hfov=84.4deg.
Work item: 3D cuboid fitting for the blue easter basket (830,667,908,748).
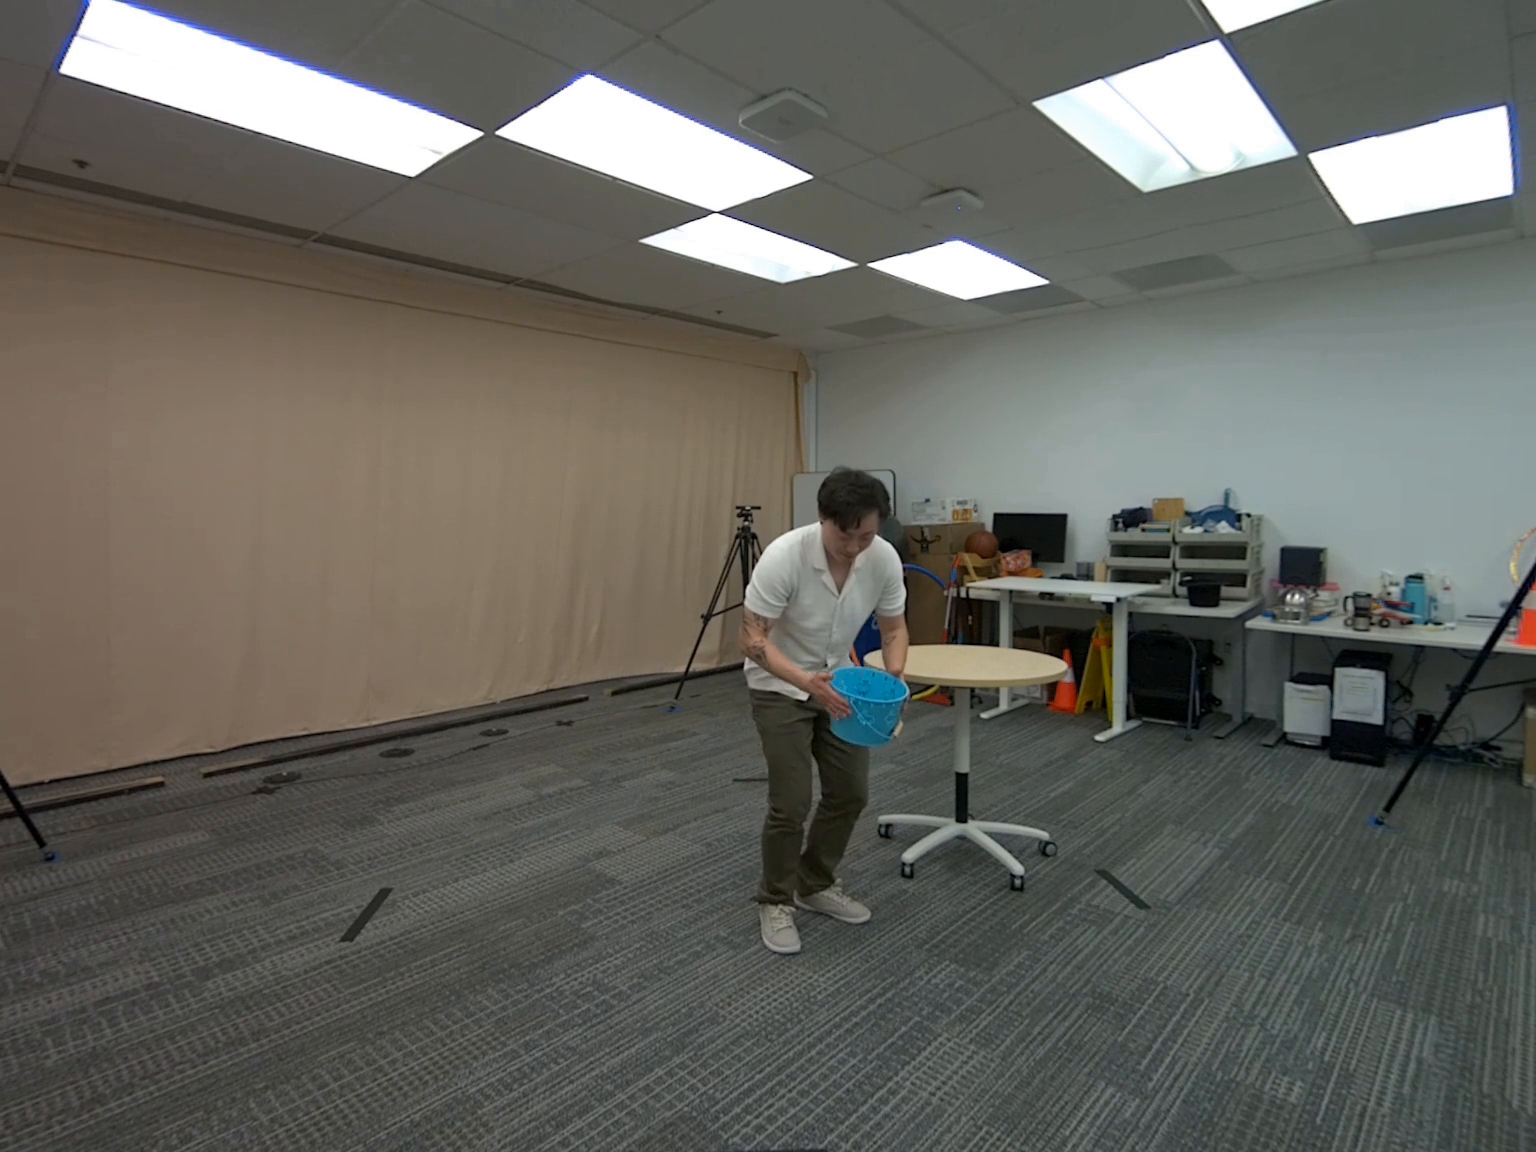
[{"bbox_3d":[0.292,0.391,2.458,0.243,0.155,0.246,3,14,-3],"label":"blue easter basket"}]
